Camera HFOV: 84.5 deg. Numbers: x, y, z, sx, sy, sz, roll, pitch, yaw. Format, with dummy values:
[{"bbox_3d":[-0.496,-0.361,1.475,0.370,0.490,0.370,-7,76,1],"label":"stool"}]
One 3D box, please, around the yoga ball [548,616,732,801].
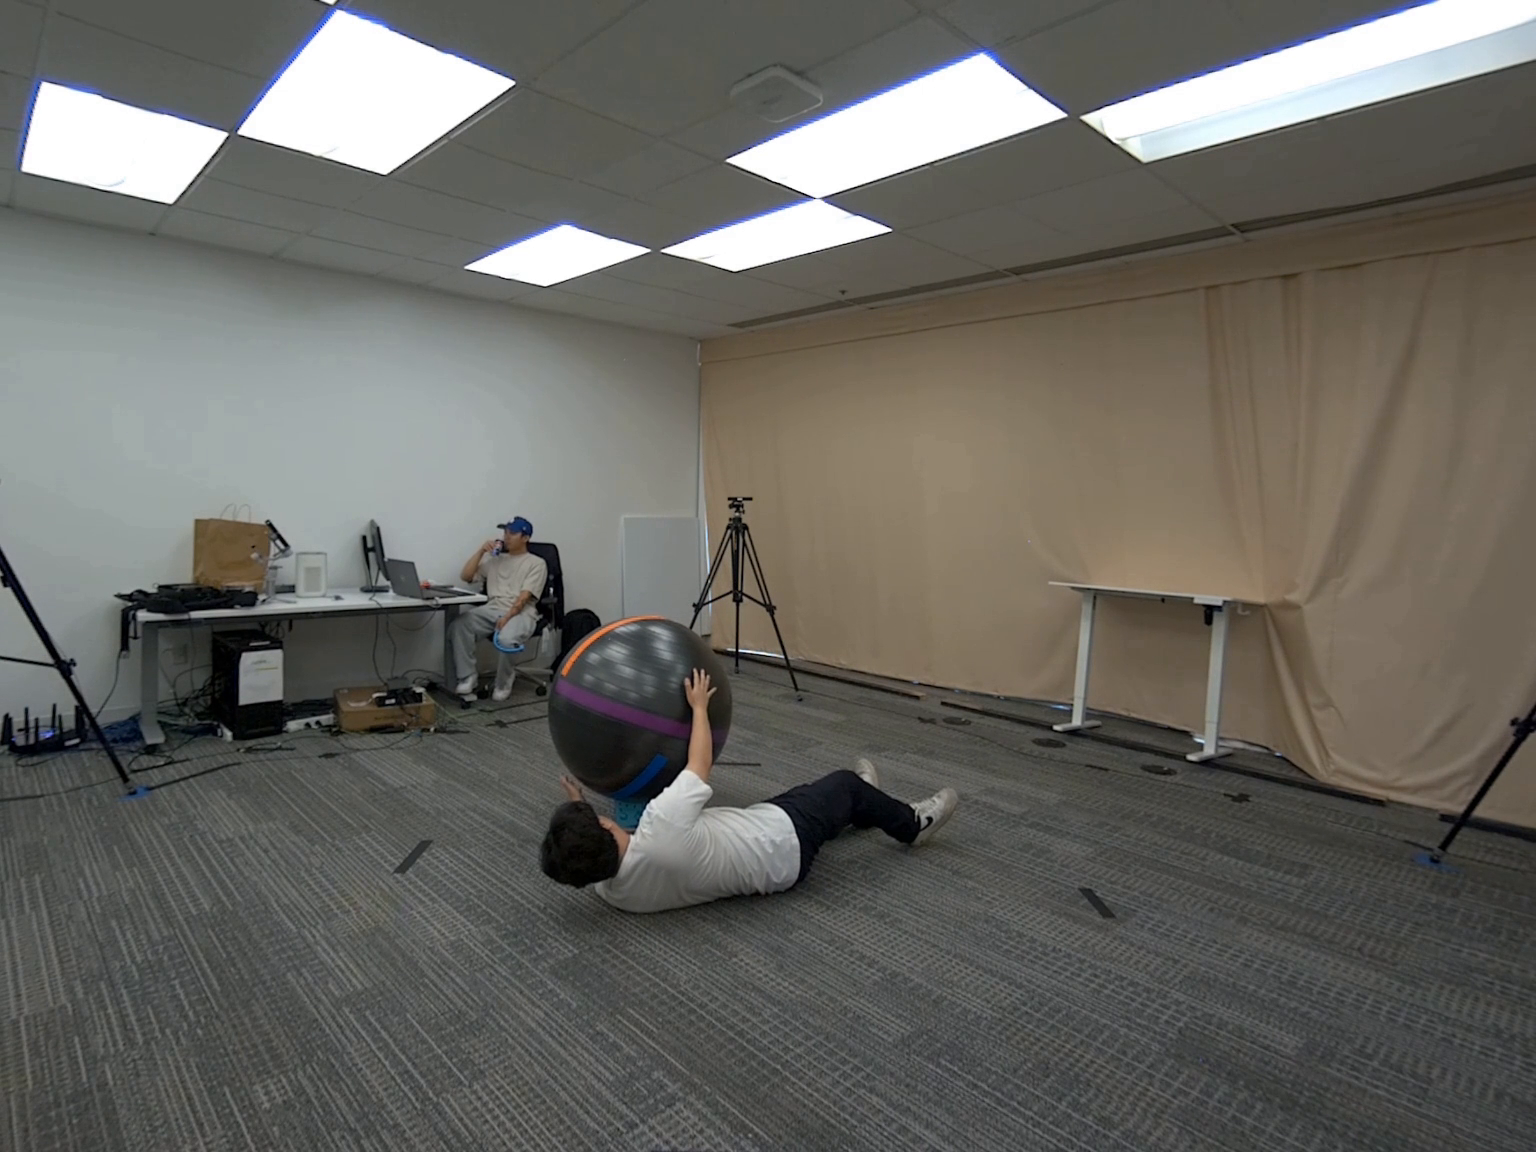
[{"bbox_3d":[-0.537,0.549,3.520,0.757,0.756,0.761,1,4,-1],"label":"yoga ball"}]
